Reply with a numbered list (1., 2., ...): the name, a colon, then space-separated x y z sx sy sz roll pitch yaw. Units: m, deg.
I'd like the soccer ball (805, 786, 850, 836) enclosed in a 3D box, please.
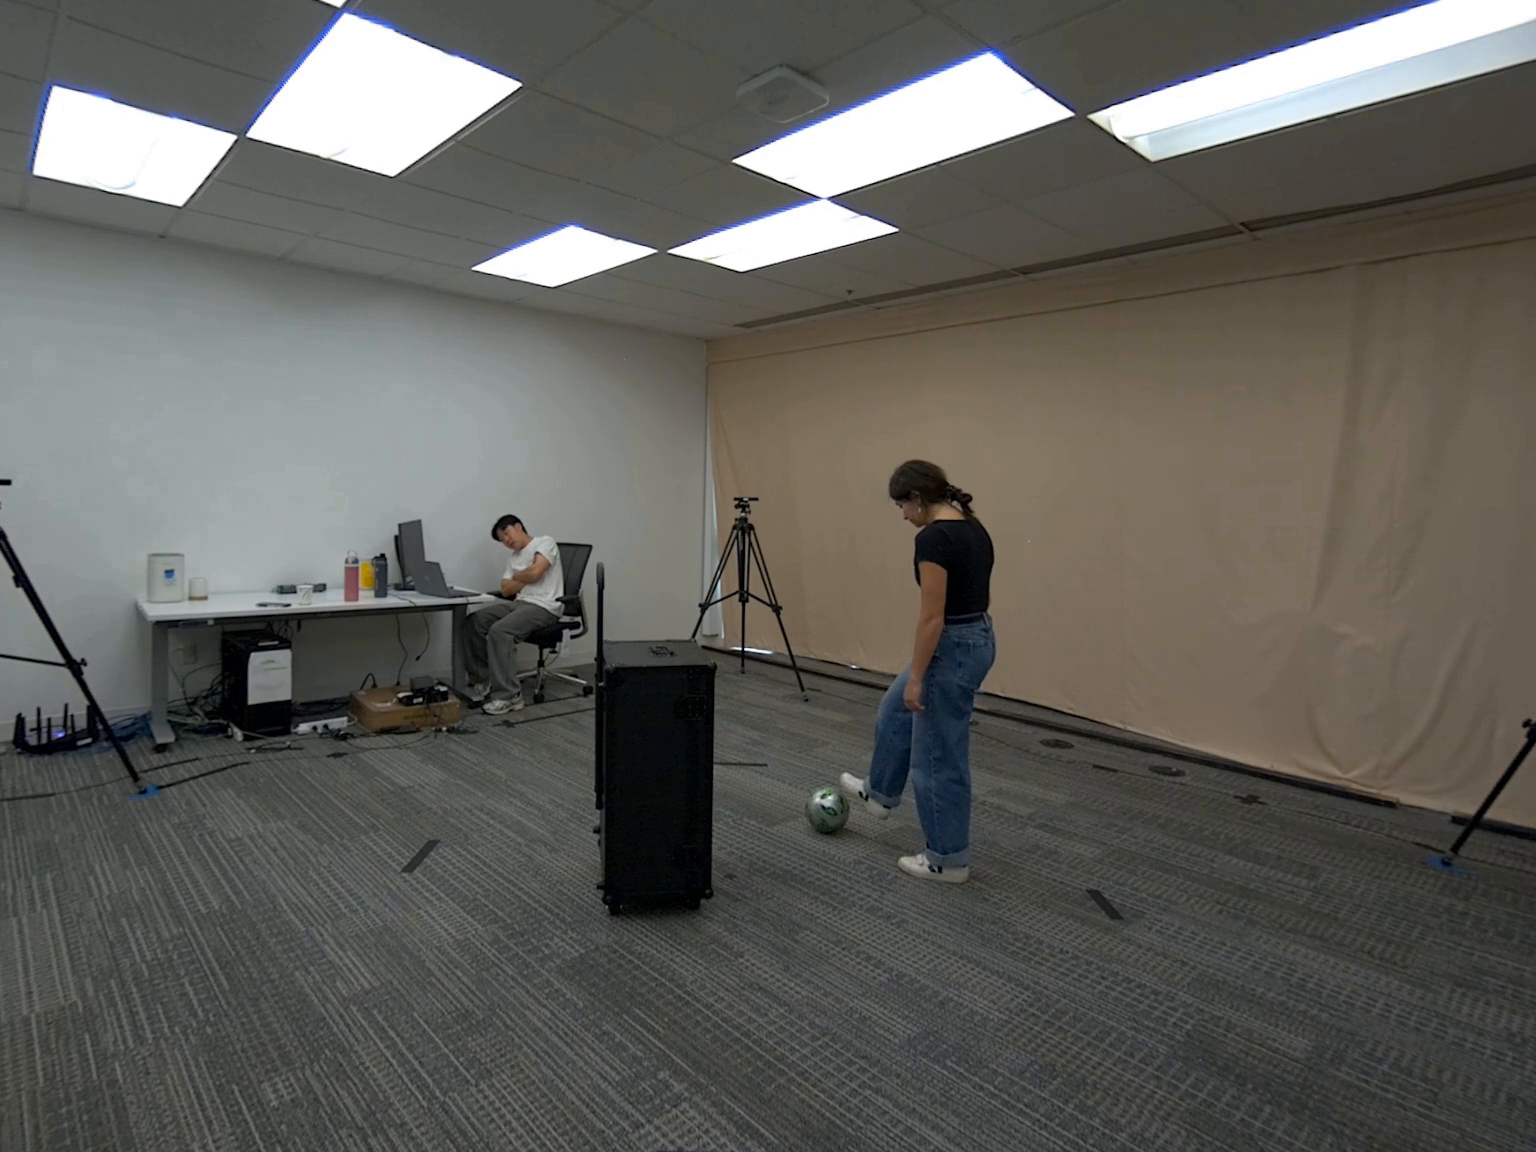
1. soccer ball: 0.241 0.988 3.552 0.187 0.187 0.188 1 4 -1
